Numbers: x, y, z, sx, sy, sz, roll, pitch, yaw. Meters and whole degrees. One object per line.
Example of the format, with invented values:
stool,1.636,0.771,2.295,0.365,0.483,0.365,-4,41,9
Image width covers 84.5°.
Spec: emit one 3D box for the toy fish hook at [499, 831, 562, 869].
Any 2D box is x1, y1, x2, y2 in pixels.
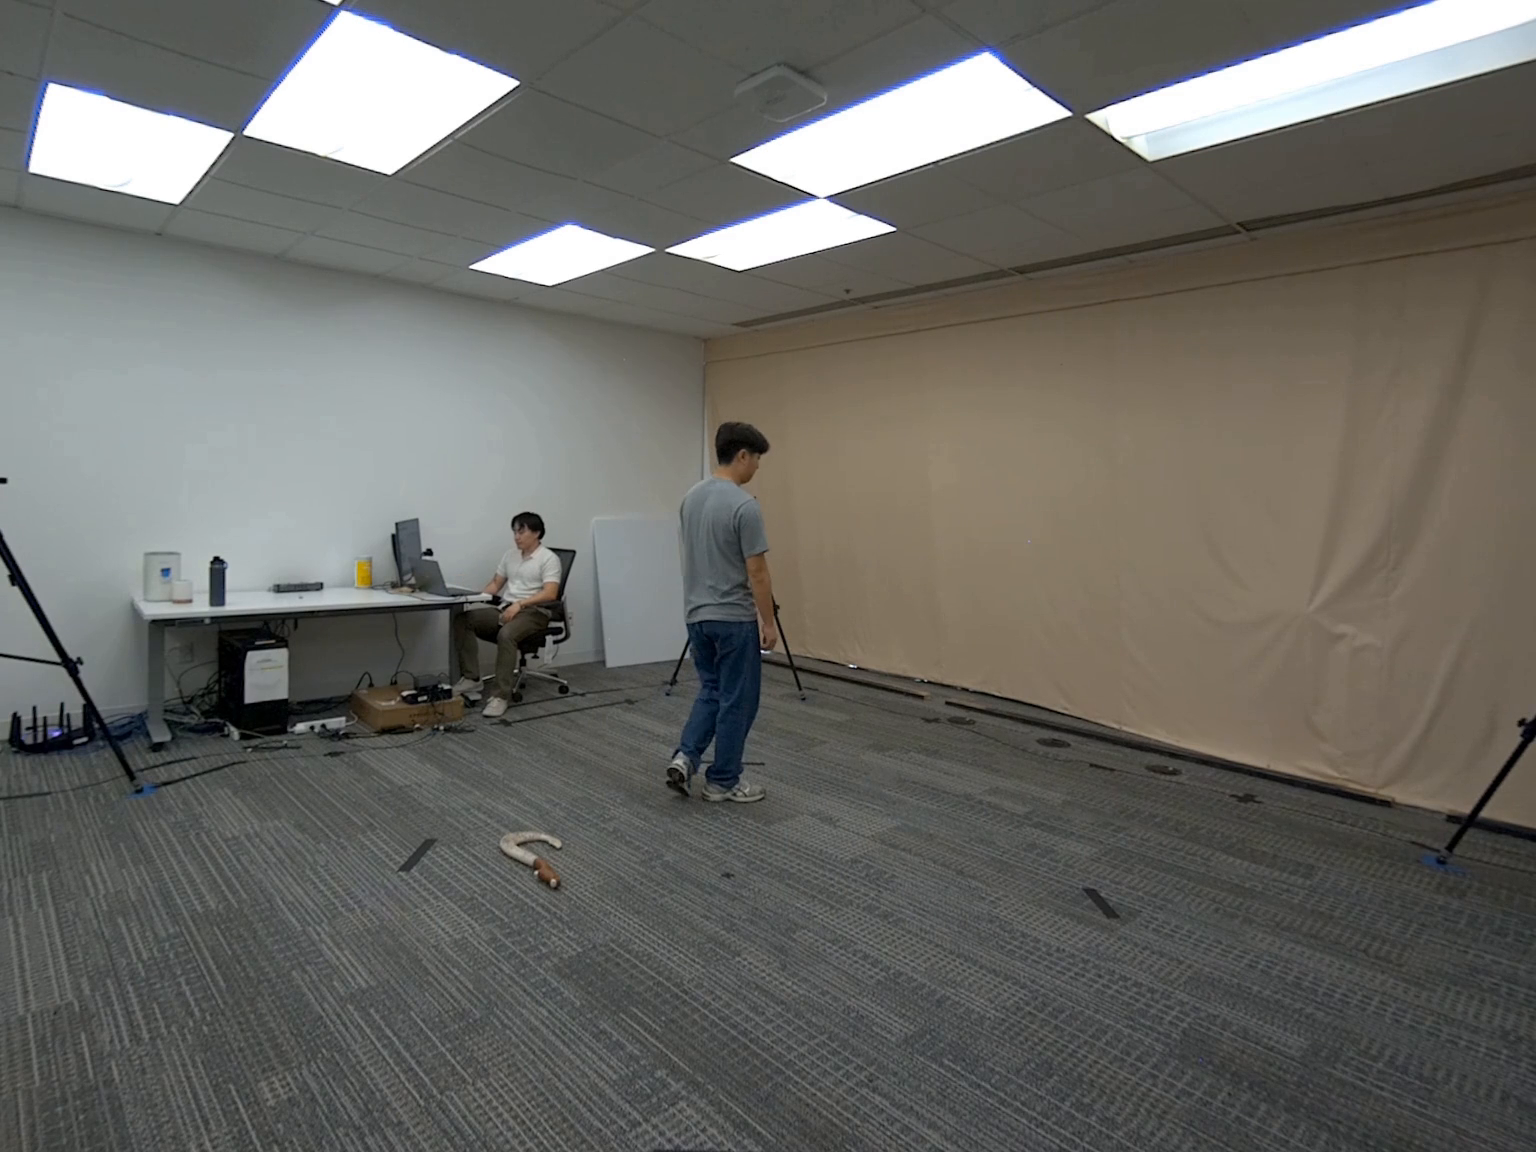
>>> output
toy fish hook,-0.853,1.059,3.182,0.220,0.048,0.519,-3,7,-35
